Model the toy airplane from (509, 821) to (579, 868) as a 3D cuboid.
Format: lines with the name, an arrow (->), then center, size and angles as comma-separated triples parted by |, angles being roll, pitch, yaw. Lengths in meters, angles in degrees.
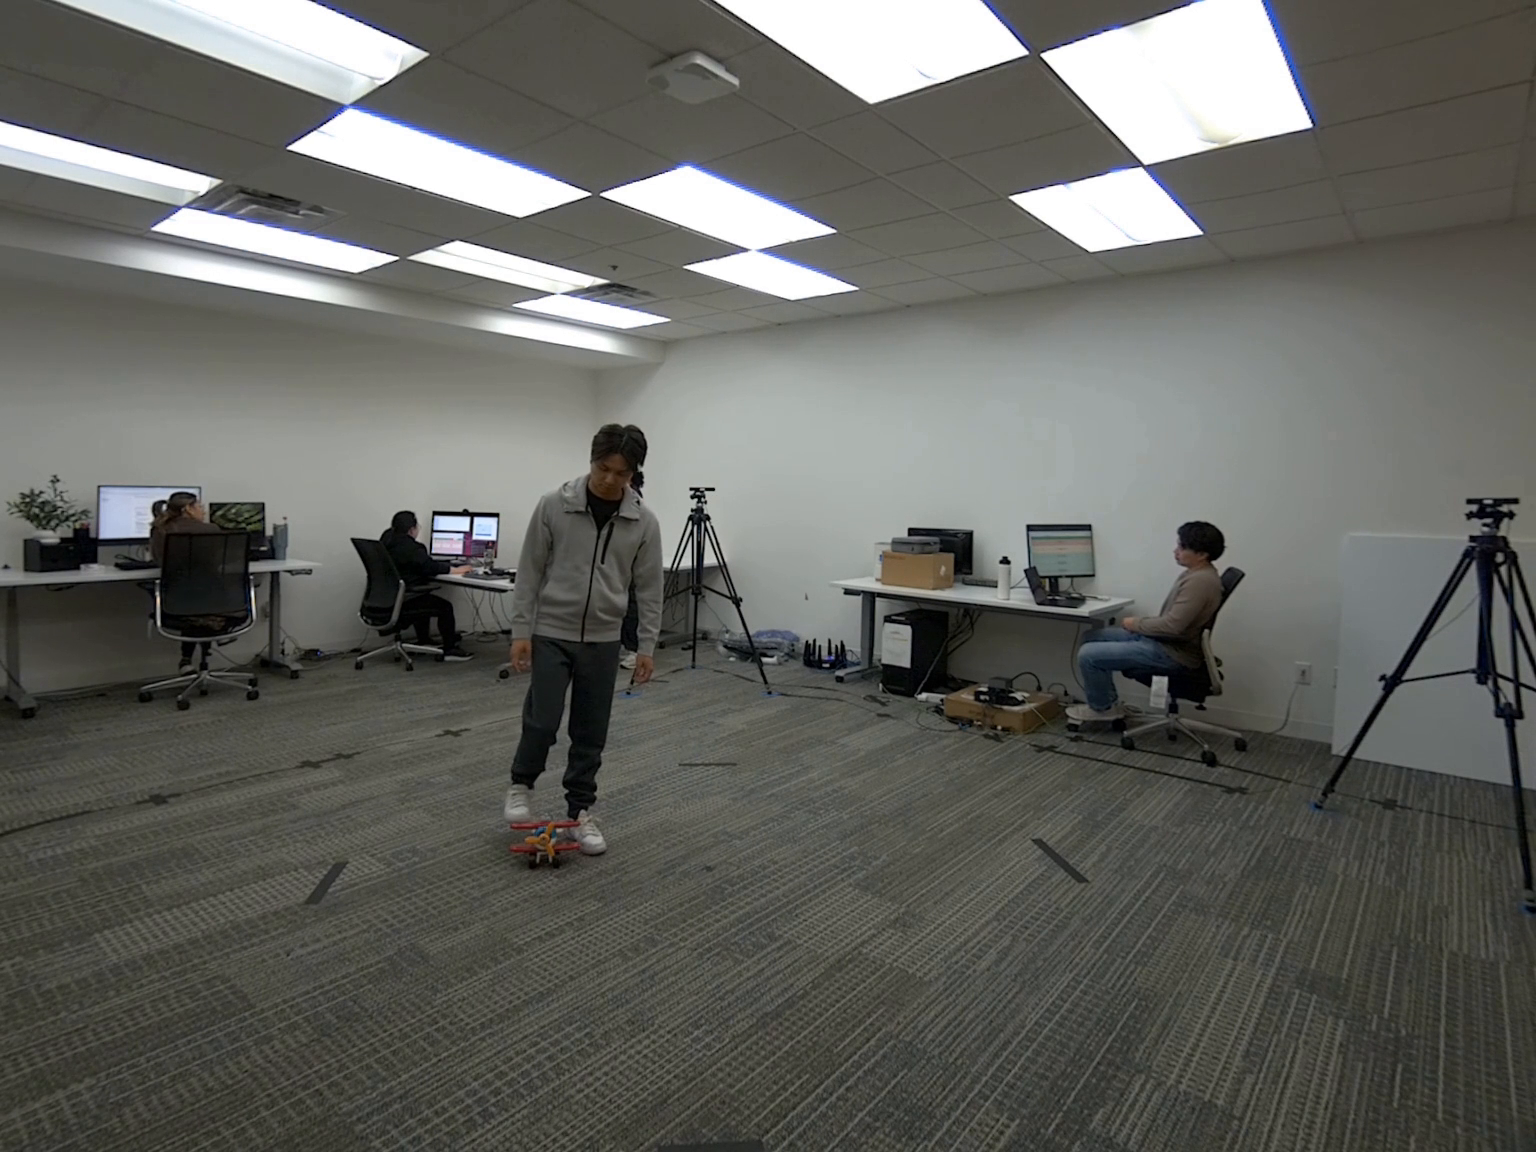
toy airplane -> -0.854, 0.975, 3.168 | 0.244, 0.156, 0.268 | -5, 7, -38
